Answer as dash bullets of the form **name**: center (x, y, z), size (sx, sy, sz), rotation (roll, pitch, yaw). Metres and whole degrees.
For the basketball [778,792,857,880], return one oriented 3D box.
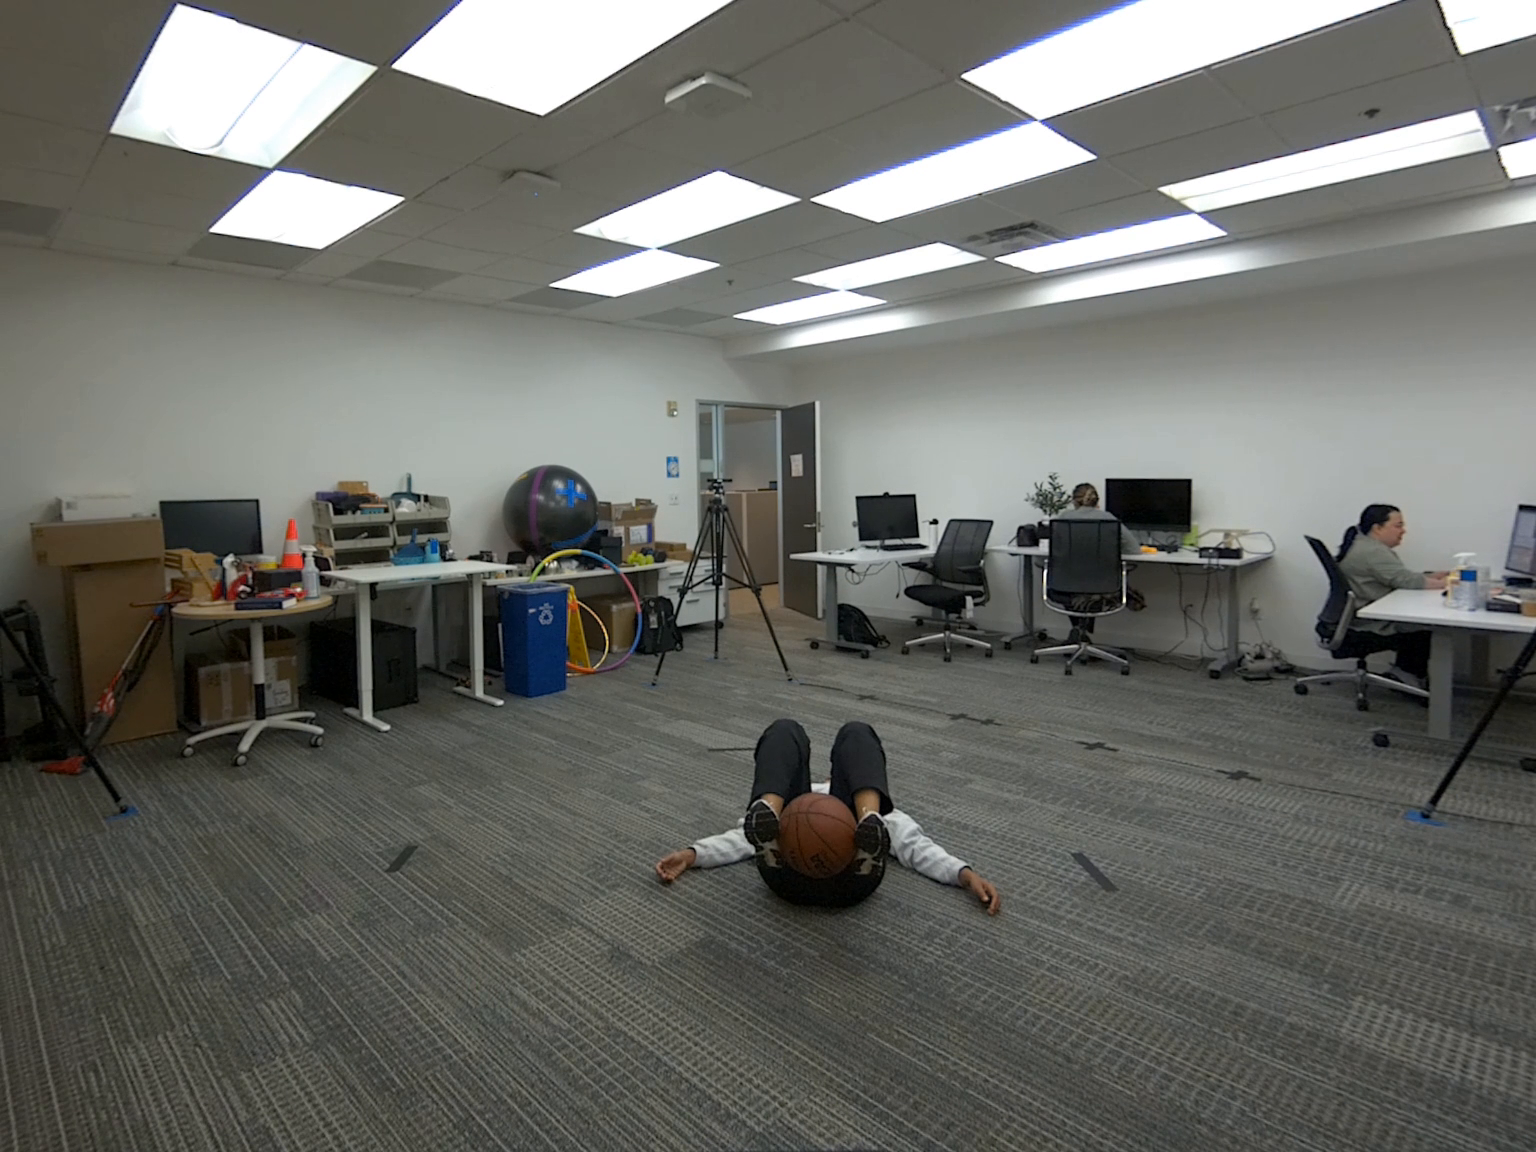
- **basketball**: center (0.151, 0.763, 2.529), size (0.236, 0.235, 0.236), rotation (-4, 2, -2)
